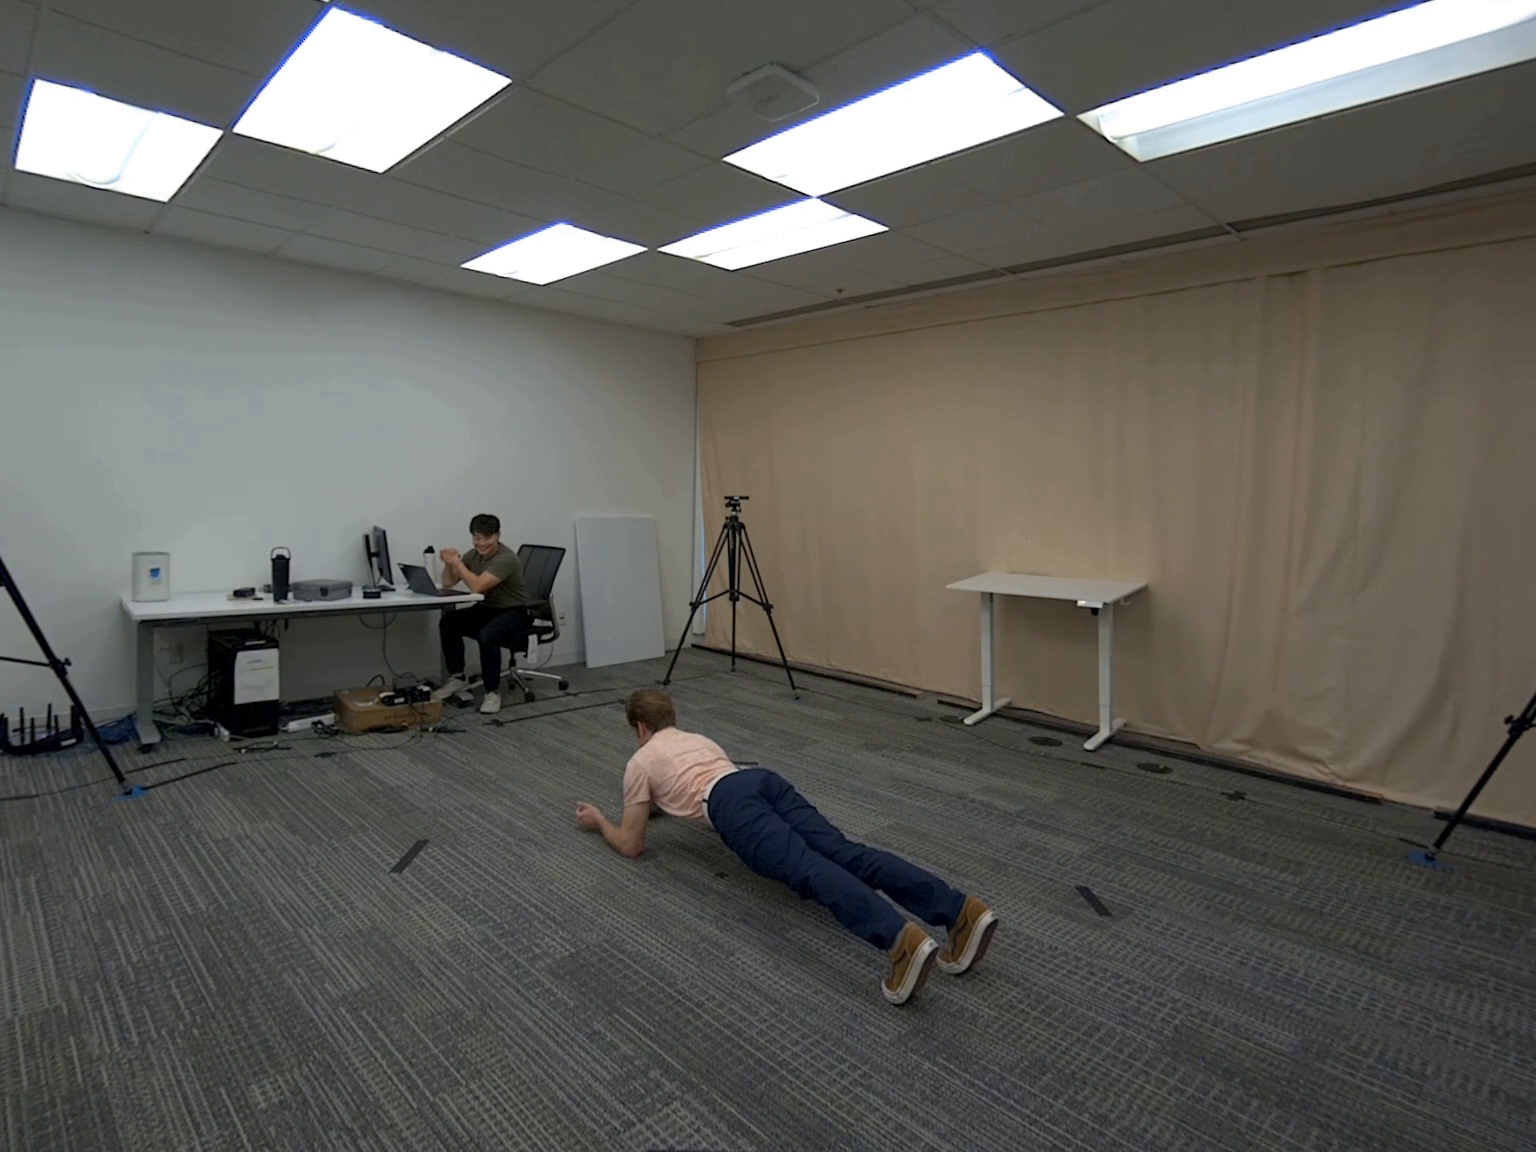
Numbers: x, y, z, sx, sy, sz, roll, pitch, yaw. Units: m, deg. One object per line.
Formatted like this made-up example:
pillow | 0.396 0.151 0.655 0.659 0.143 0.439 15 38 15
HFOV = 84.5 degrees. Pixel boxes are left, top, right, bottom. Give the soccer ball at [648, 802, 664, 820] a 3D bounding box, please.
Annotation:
soccer ball | -0.525 0.953 3.679 0.187 0.187 0.188 1 4 -1
